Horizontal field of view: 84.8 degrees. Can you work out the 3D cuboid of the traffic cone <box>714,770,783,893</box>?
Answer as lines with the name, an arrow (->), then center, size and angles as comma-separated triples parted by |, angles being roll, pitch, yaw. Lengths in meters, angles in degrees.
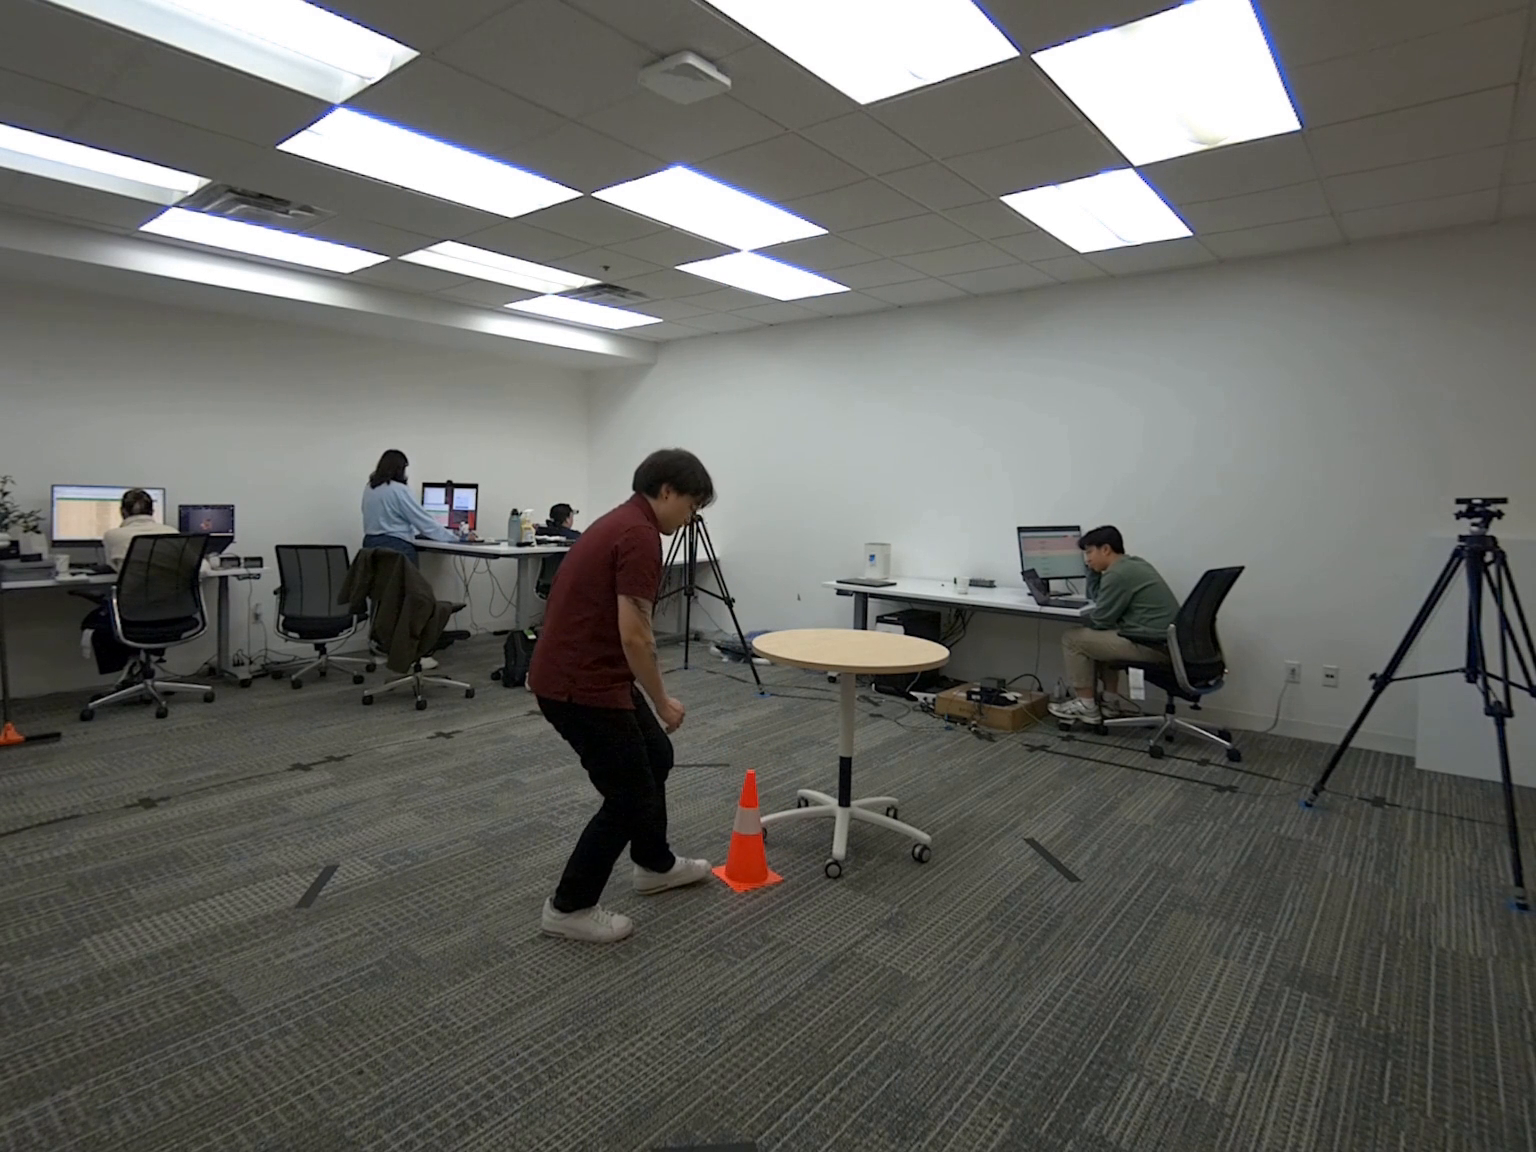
traffic cone -> -0.082, 0.893, 3.057 | 0.197, 0.382, 0.212 | 0, 5, -33
